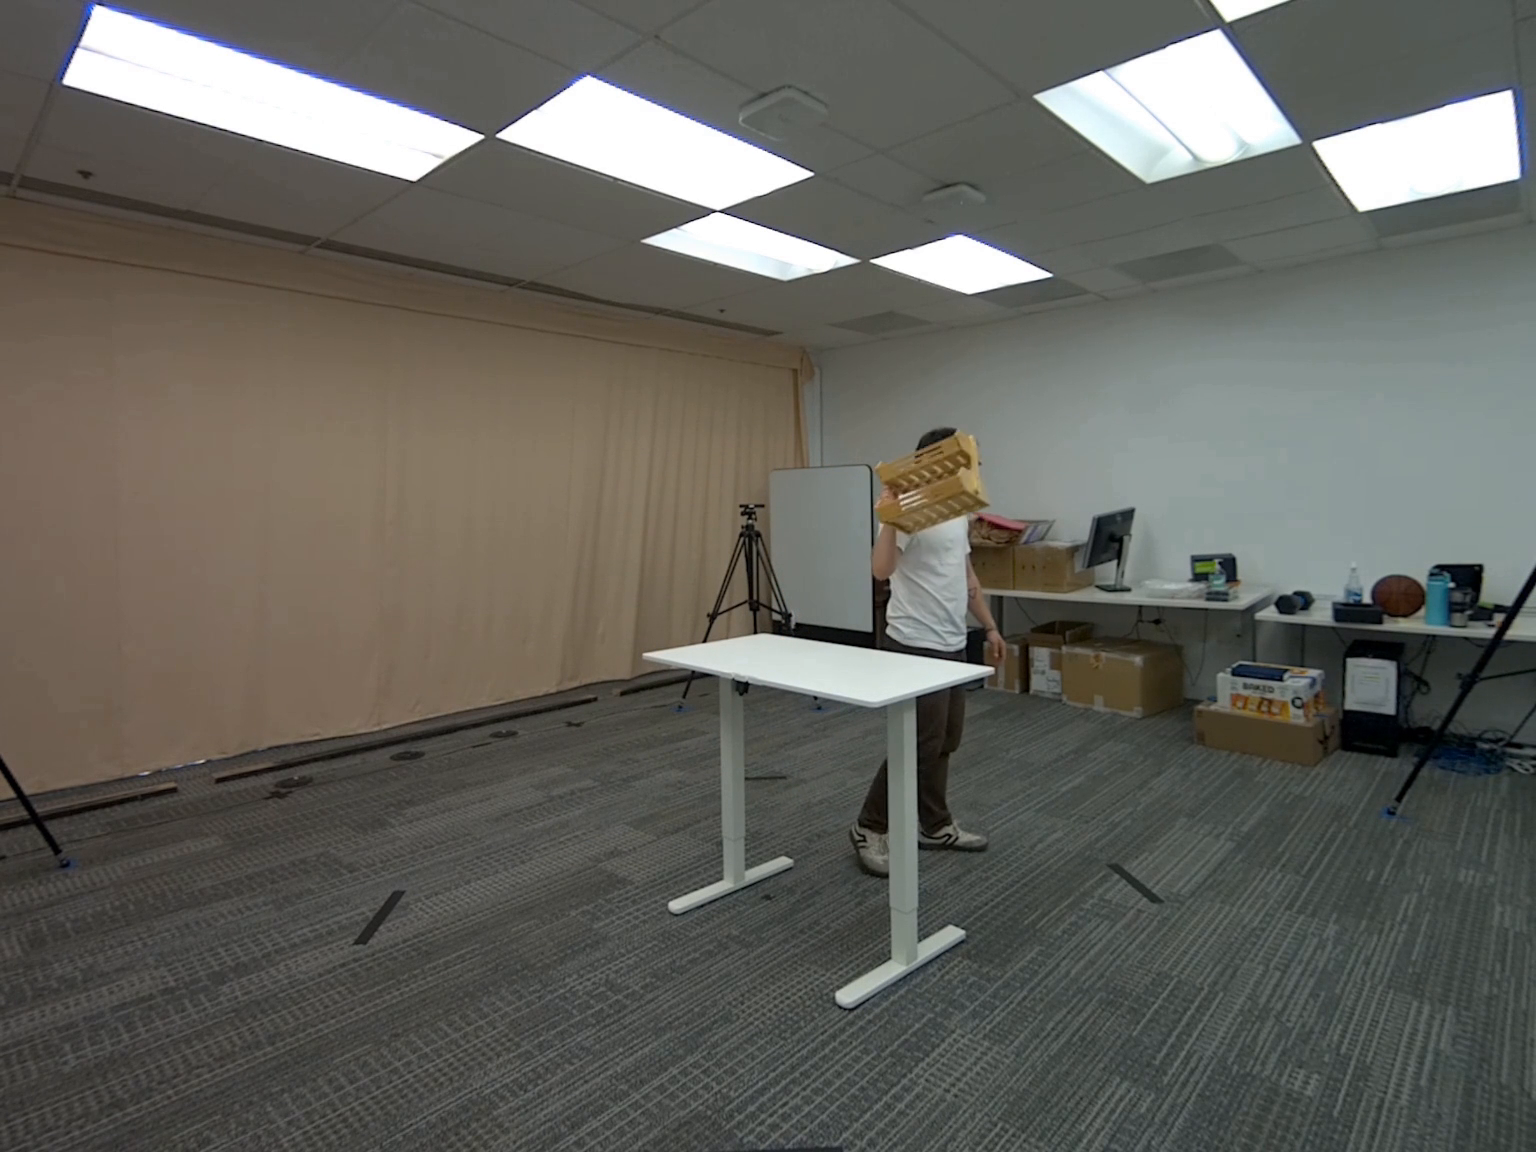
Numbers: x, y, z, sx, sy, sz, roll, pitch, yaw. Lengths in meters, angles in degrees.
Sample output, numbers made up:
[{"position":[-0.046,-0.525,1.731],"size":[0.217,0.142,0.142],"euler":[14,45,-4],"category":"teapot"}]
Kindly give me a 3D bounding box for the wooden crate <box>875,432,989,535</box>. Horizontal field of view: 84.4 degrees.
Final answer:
[{"position":[0.539,-0.324,2.833],"size":[0.331,0.277,0.291],"euler":[-21,-21,31],"category":"wooden crate"}]
